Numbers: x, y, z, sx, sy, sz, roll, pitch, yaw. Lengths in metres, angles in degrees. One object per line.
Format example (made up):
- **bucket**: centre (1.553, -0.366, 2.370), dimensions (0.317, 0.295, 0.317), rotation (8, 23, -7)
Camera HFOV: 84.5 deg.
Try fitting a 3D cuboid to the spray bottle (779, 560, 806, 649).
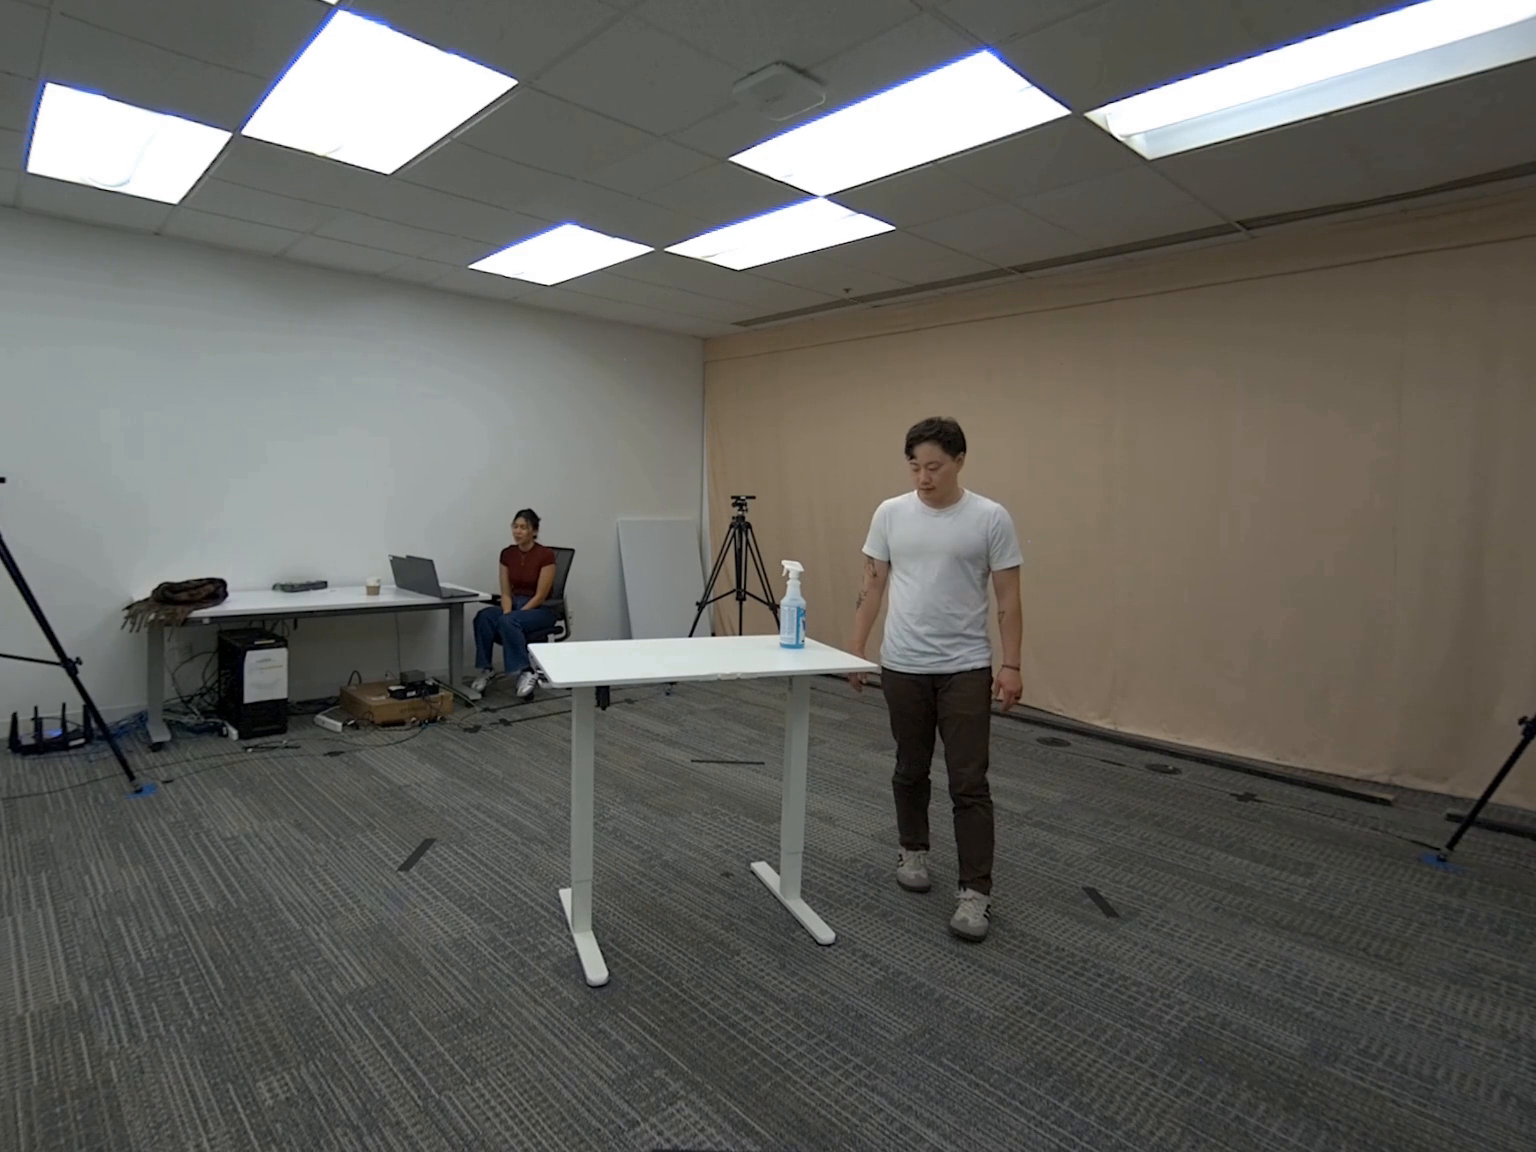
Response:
- **spray bottle**: centre (0.085, 0.099, 2.907), dimensions (0.085, 0.296, 0.092), rotation (-1, 4, -22)
